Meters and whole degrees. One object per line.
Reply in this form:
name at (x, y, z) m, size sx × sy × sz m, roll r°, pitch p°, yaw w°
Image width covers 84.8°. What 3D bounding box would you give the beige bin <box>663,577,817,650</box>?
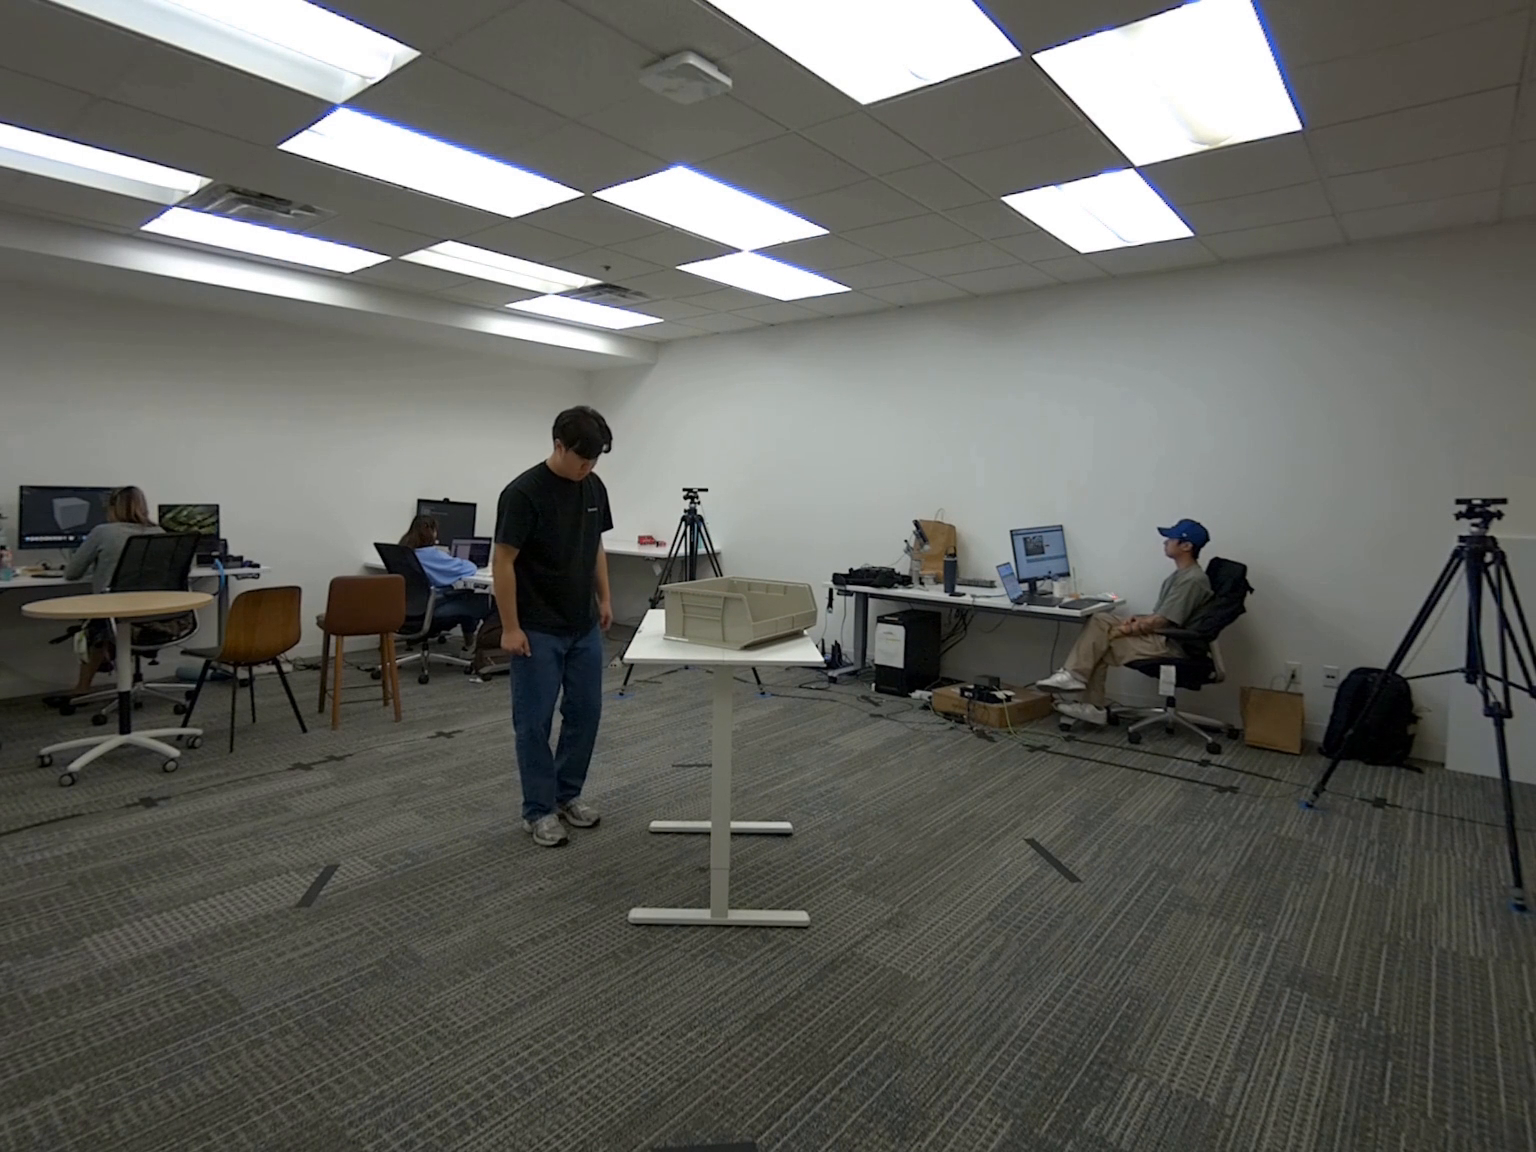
beige bin at (-0.103, 0.121, 2.917) m, size 0.389 × 0.188 × 0.411 m, roll 3°, pitch 6°, yaw 34°
